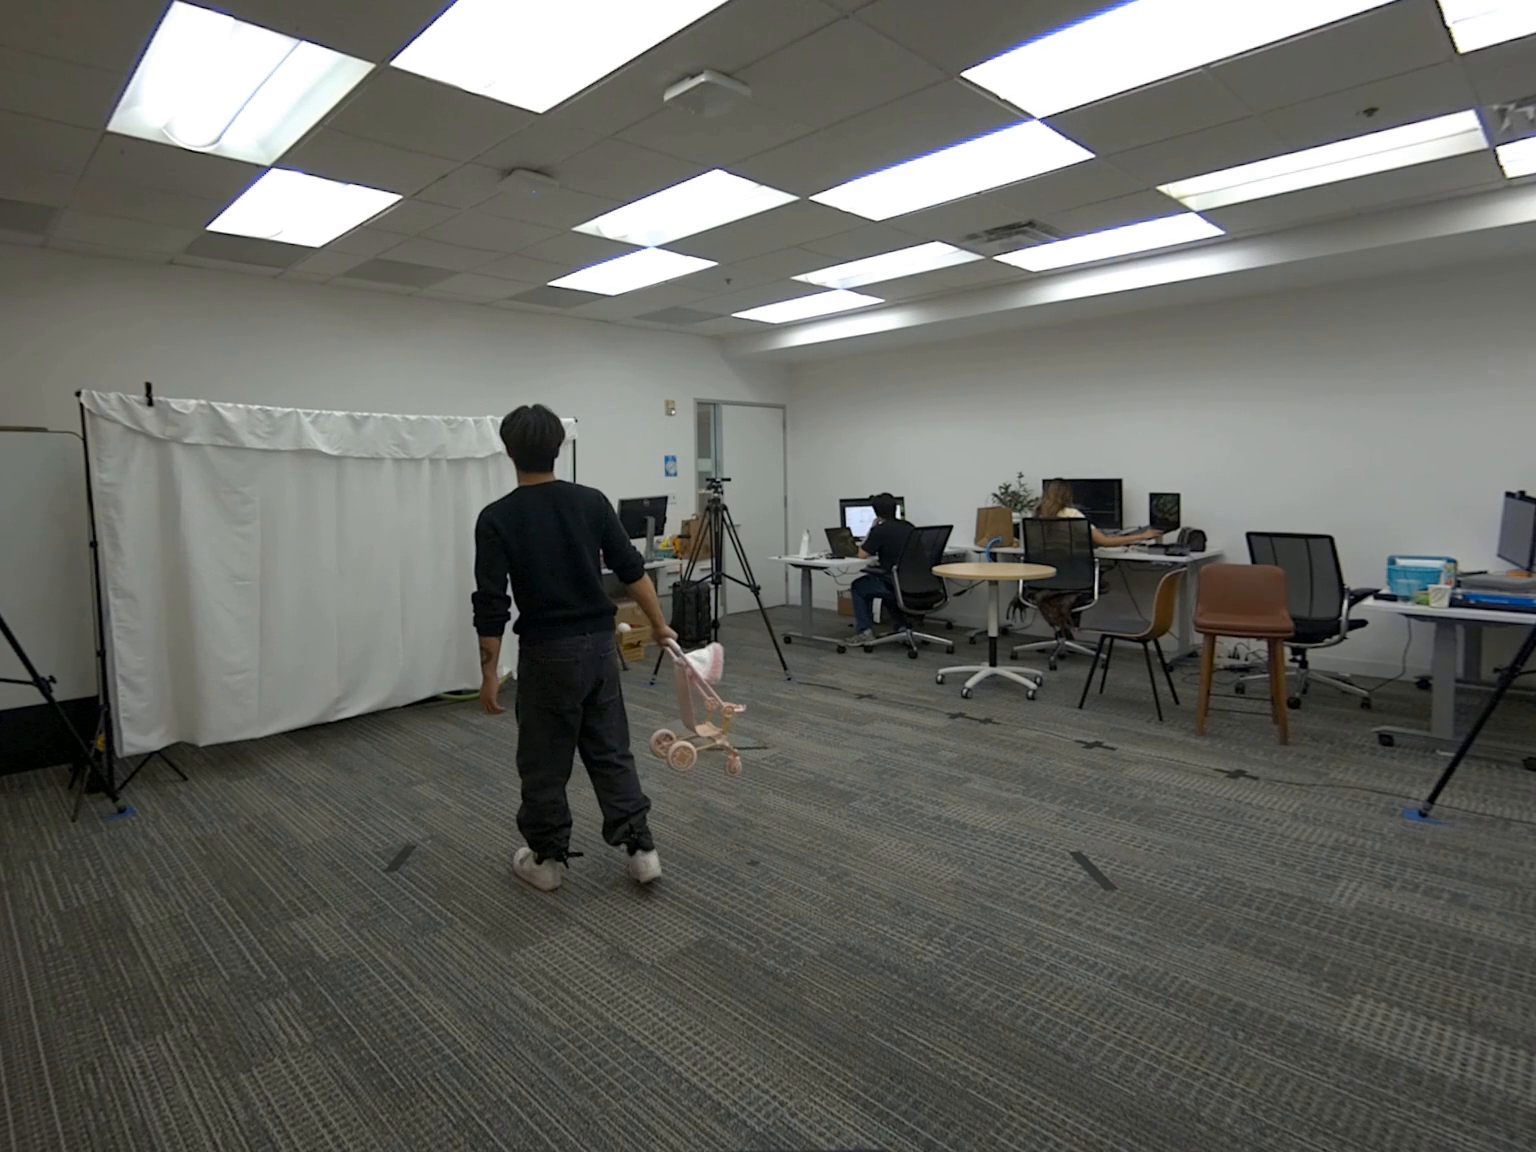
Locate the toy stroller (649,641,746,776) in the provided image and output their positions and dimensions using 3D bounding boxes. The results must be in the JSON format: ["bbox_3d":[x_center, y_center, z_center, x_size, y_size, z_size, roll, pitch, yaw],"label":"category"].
[{"bbox_3d":[-0.248,0.494,3.201,0.336,0.537,0.285,1,-3,-17],"label":"toy stroller"}]
